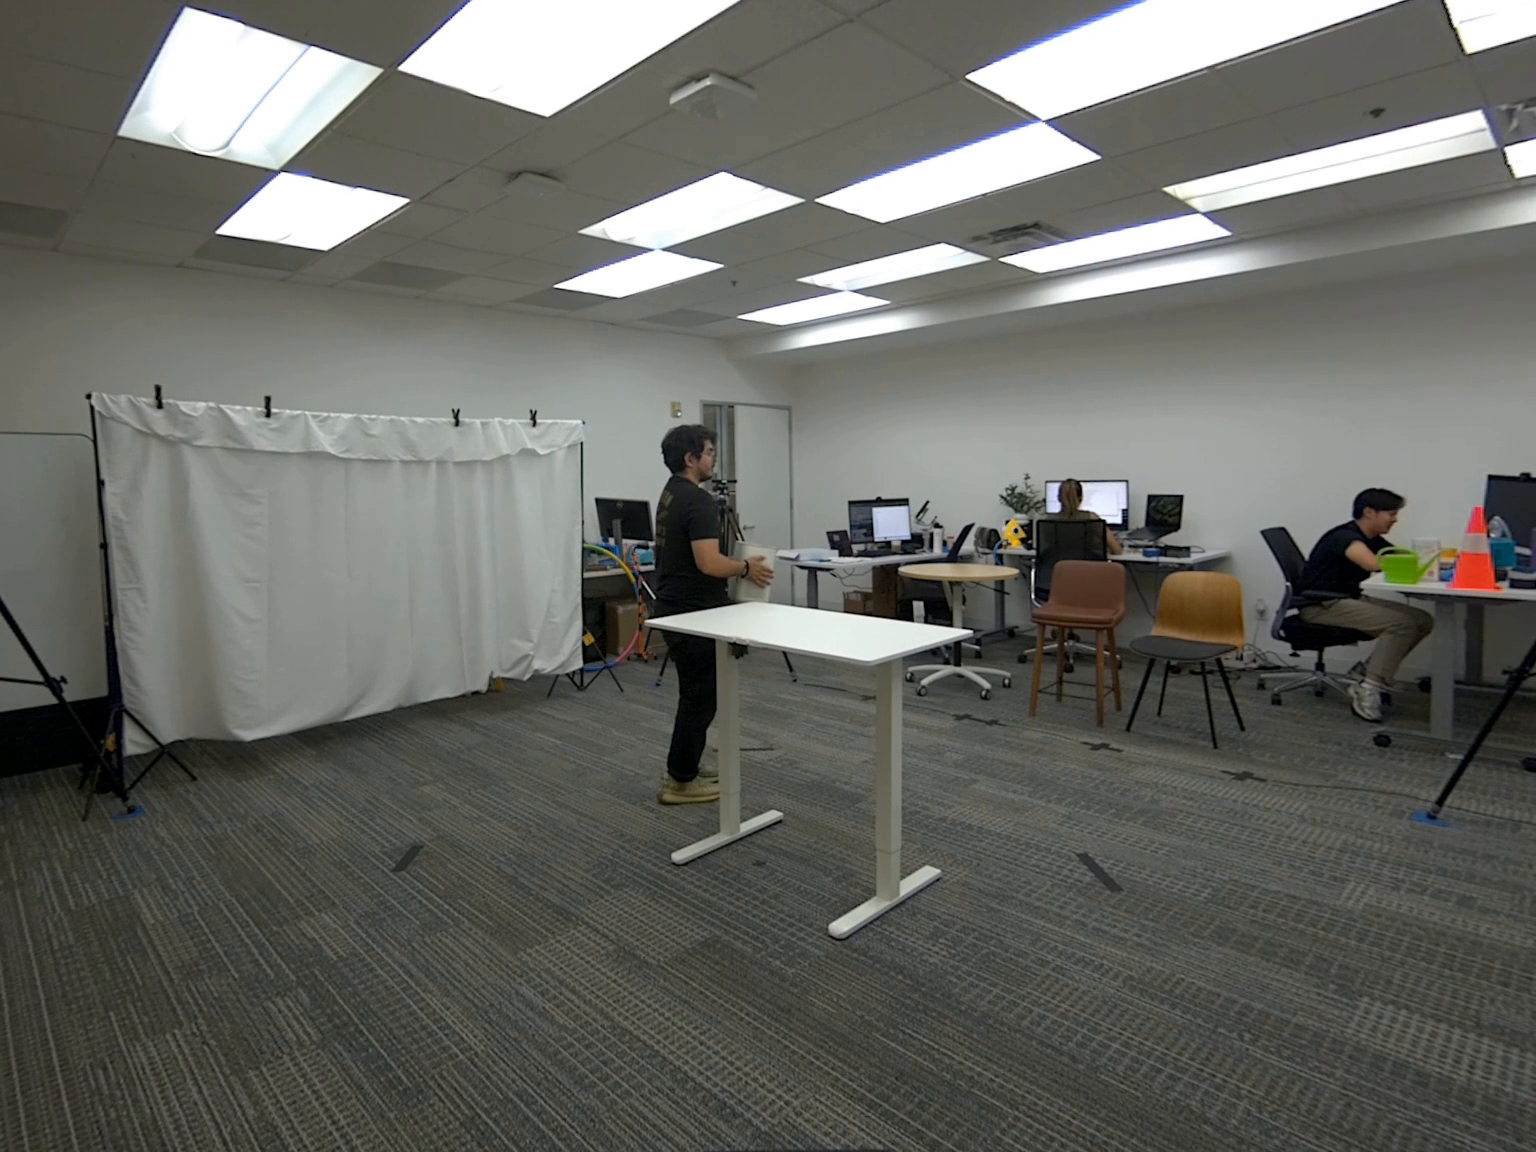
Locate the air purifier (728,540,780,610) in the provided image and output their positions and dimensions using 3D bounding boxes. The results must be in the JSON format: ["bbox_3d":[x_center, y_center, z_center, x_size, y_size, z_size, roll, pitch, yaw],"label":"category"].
[{"bbox_3d":[-0.077,-0.008,3.789,0.169,0.264,0.174,8,5,-15],"label":"air purifier"}]
